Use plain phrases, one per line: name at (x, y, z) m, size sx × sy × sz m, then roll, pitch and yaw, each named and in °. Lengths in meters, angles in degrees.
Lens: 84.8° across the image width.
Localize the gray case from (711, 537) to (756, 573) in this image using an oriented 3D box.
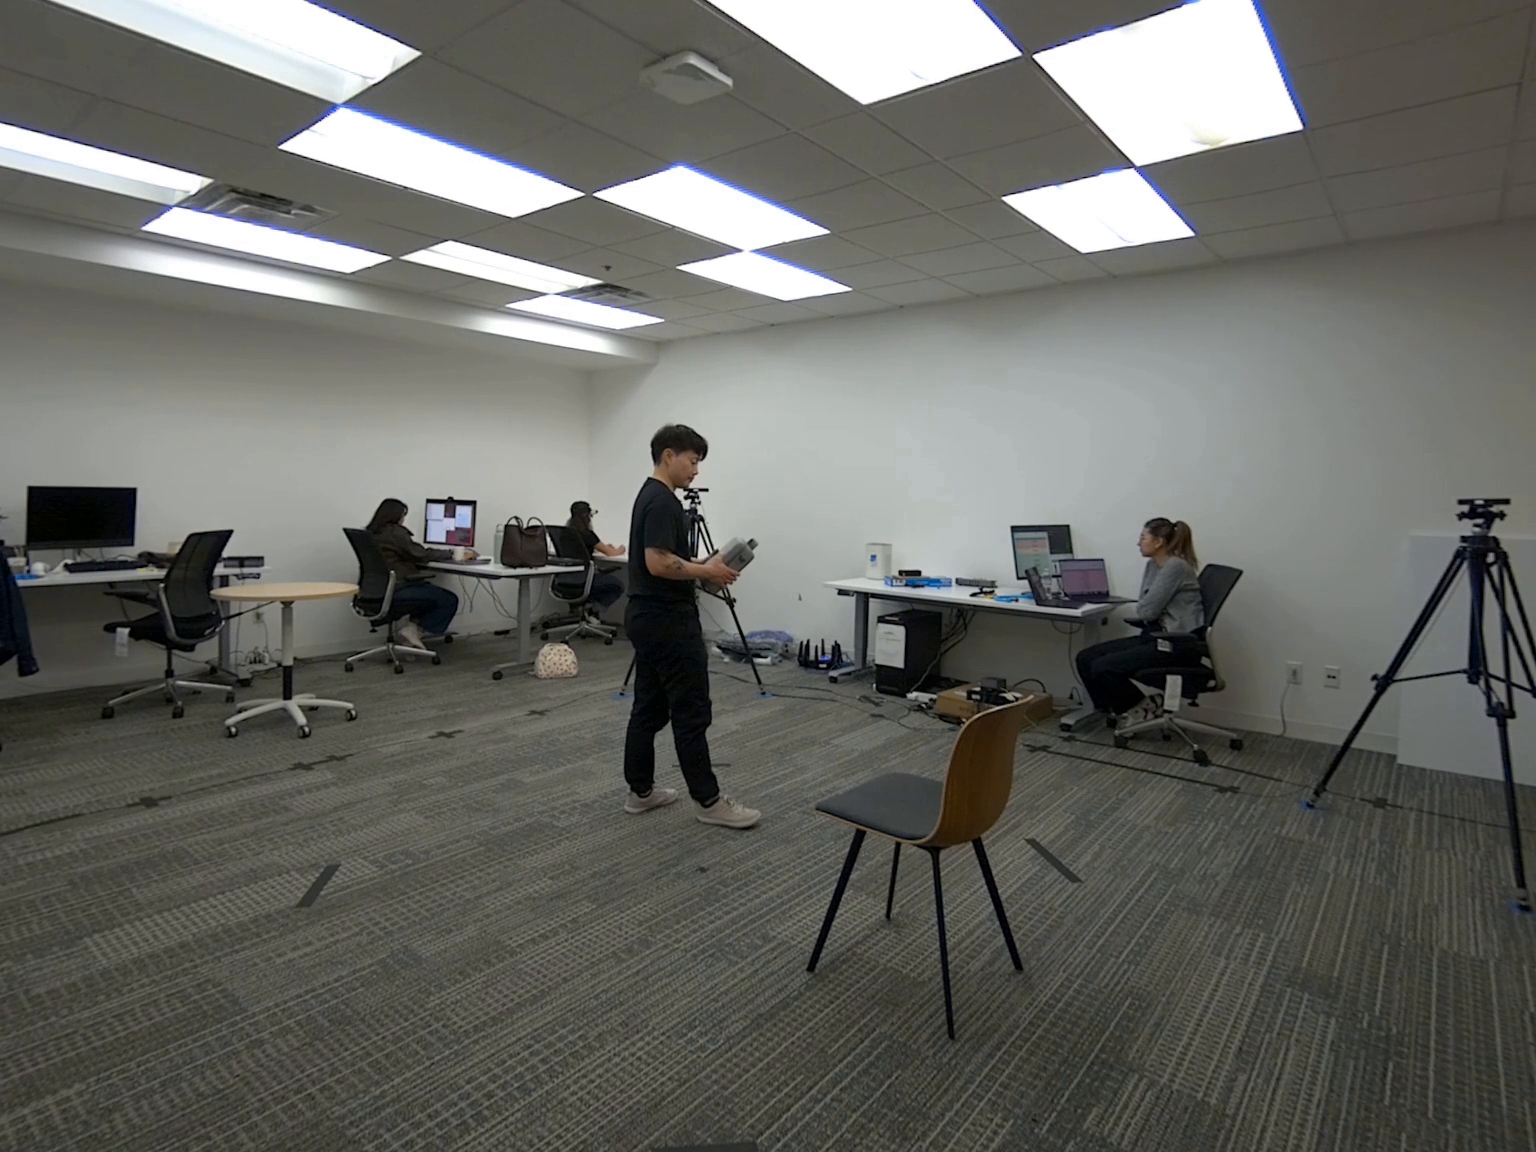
gray case at (-0.187, -0.054, 3.678) m, size 0.261 × 0.103 × 0.260 m, roll -42°, pitch 10°, yaw 5°
